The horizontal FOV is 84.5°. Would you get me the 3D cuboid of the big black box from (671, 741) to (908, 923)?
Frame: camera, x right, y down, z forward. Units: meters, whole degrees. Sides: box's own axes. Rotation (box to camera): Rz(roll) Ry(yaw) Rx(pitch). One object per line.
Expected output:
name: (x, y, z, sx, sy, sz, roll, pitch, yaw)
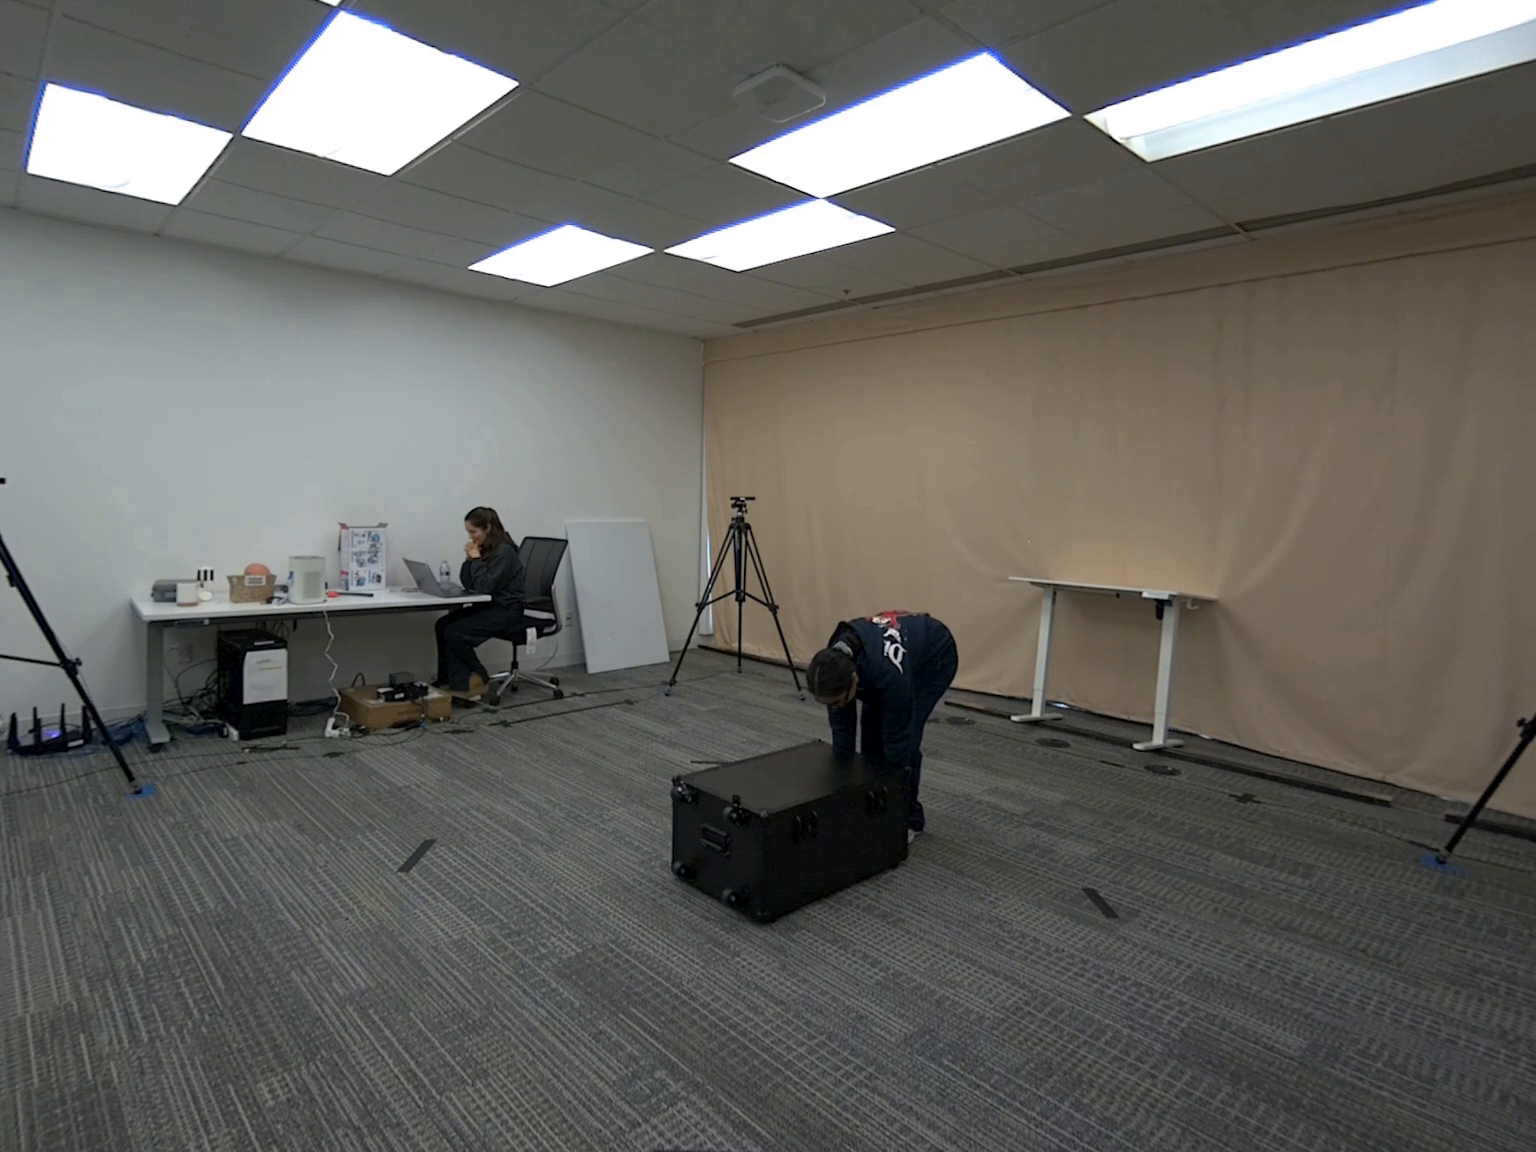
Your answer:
big black box: (0.062, 0.917, 3.124, 0.841, 0.395, 0.534, -2, 5, -44)
